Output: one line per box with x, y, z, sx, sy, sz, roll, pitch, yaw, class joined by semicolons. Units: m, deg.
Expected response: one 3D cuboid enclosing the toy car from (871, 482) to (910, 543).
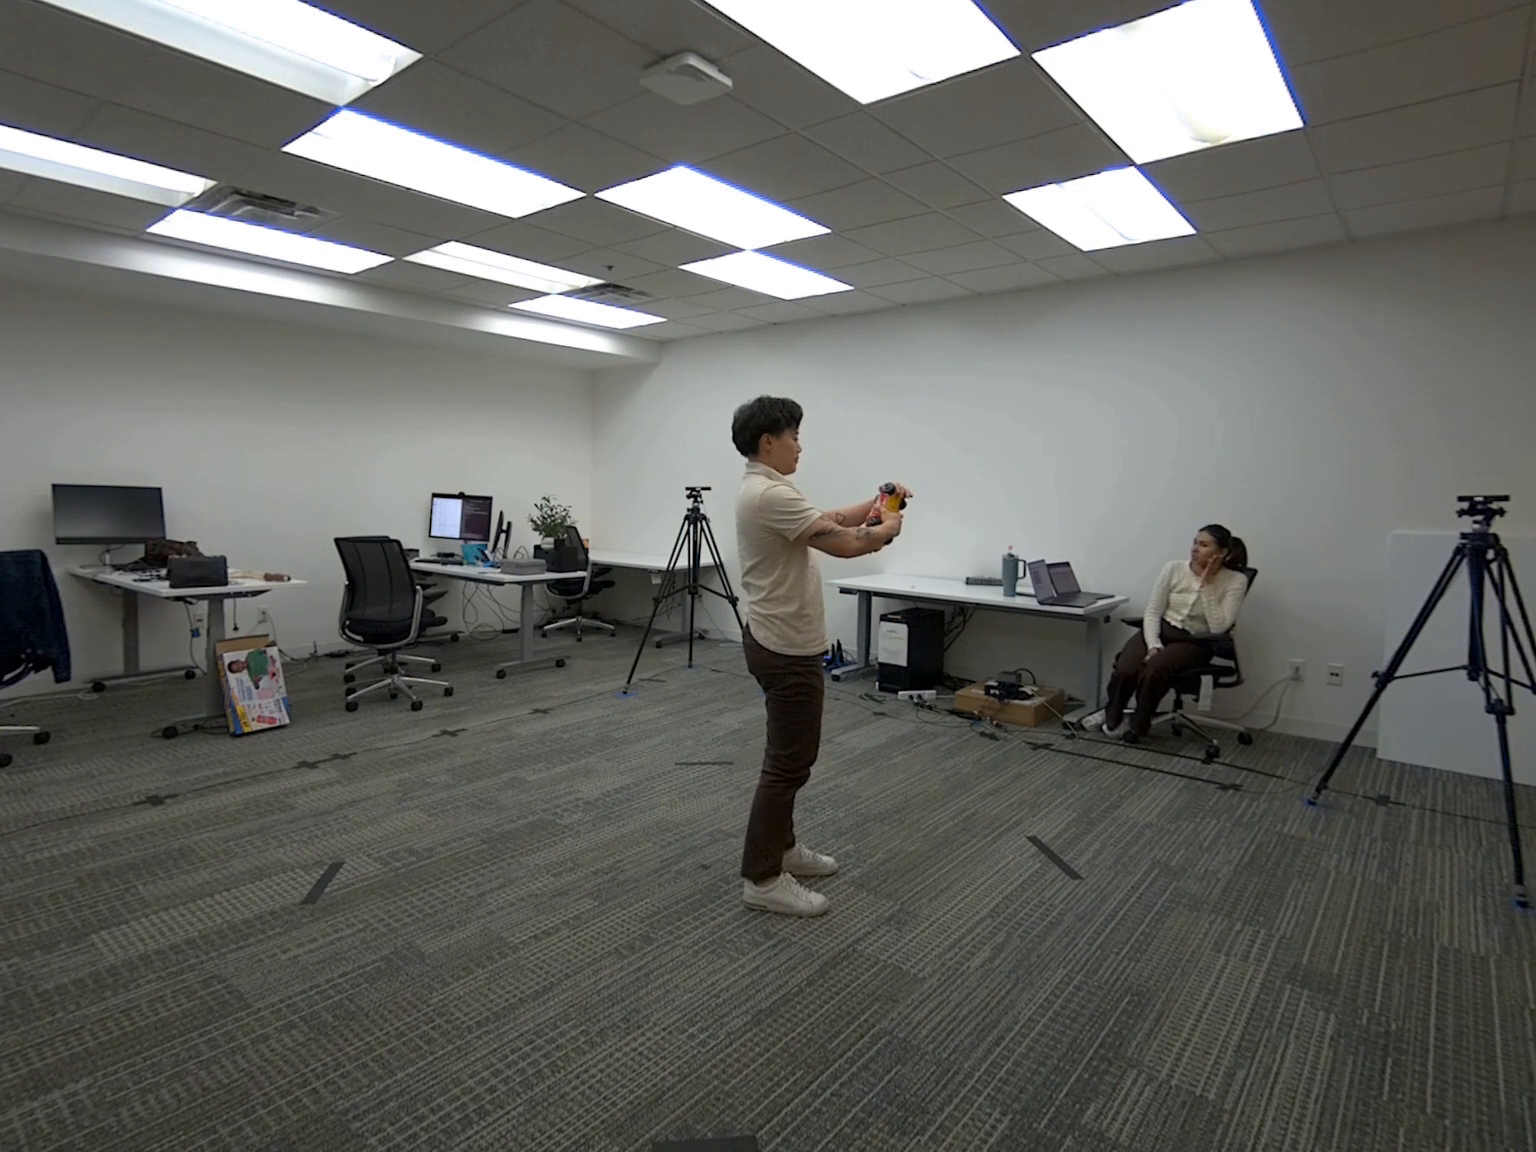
0.386;-0.201;2.935;0.086;0.255;0.125;17;-18;50;toy car
